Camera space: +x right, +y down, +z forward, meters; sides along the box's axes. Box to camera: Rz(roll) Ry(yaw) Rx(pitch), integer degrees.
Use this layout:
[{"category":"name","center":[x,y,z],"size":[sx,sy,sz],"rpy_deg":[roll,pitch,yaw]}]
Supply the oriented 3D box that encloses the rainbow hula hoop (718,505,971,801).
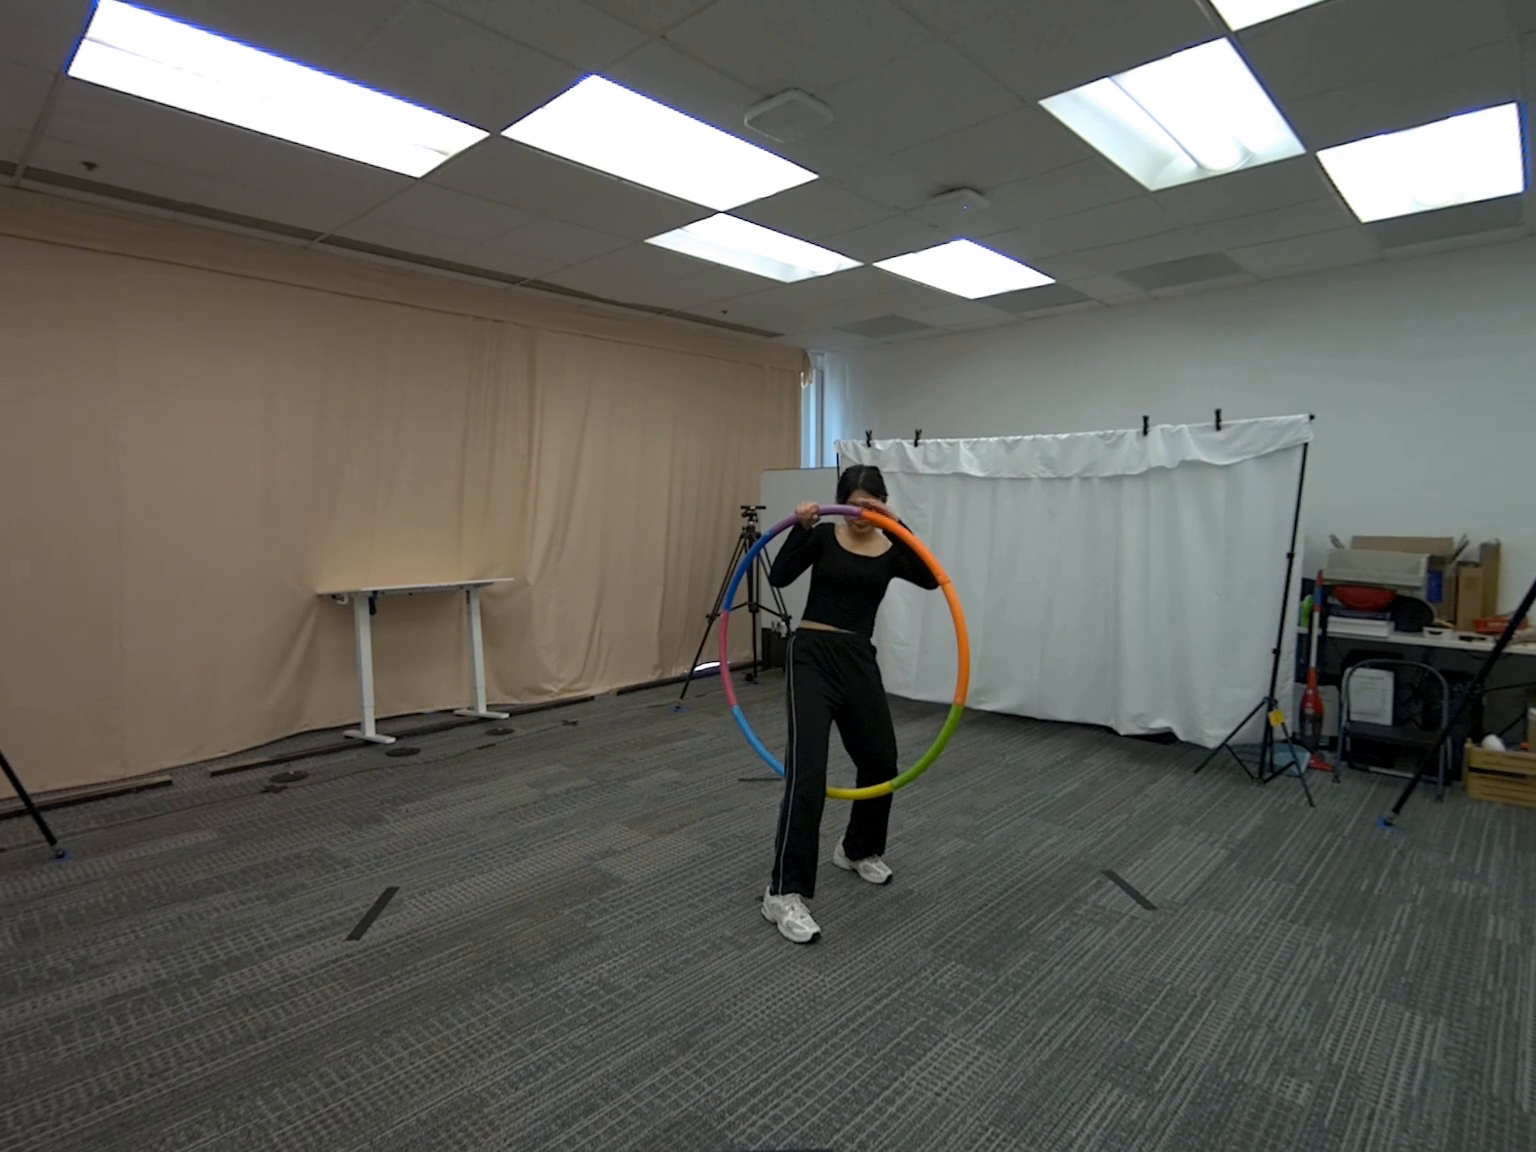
[{"category":"rainbow hula hoop","center":[0.221,0.249,2.876],"size":[1.011,0.978,0.034],"rpy_deg":[3,2,39]}]
